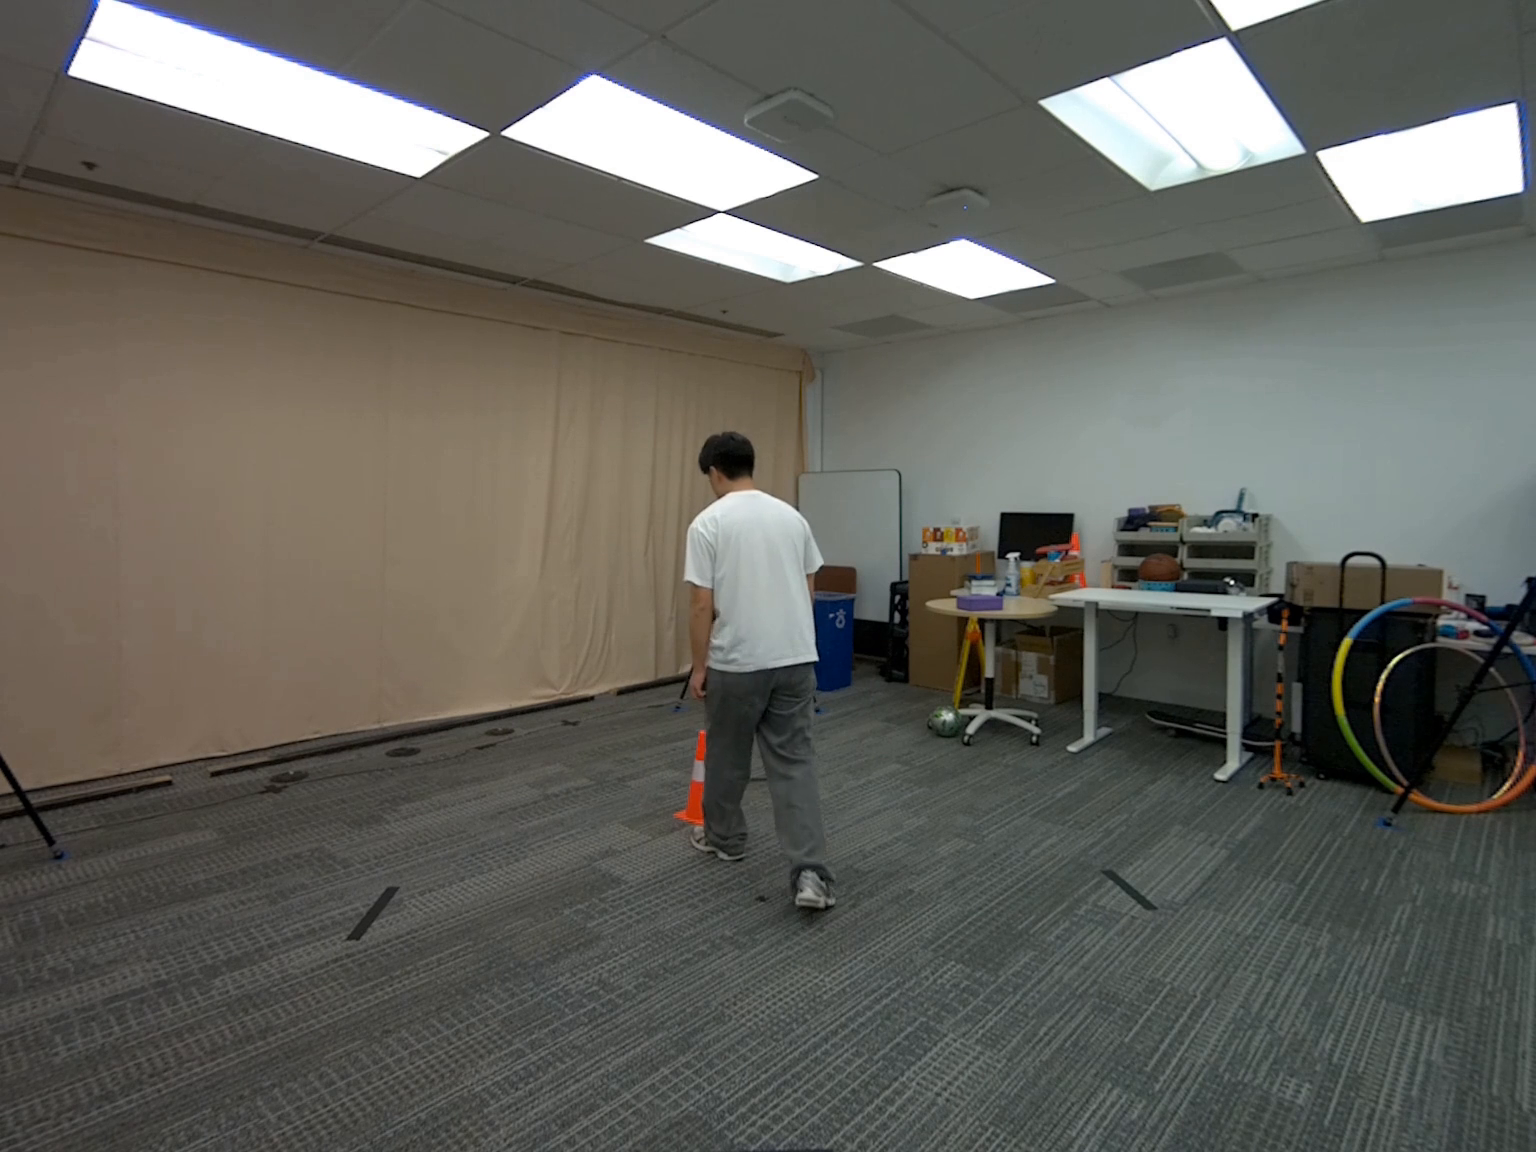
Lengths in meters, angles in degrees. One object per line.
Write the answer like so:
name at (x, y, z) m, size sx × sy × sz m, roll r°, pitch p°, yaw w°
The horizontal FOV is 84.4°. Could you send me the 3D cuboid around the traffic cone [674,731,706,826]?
traffic cone at (-0.289, 0.893, 3.797) m, size 0.197 × 0.383 × 0.212 m, roll -2°, pitch 4°, yaw -44°
